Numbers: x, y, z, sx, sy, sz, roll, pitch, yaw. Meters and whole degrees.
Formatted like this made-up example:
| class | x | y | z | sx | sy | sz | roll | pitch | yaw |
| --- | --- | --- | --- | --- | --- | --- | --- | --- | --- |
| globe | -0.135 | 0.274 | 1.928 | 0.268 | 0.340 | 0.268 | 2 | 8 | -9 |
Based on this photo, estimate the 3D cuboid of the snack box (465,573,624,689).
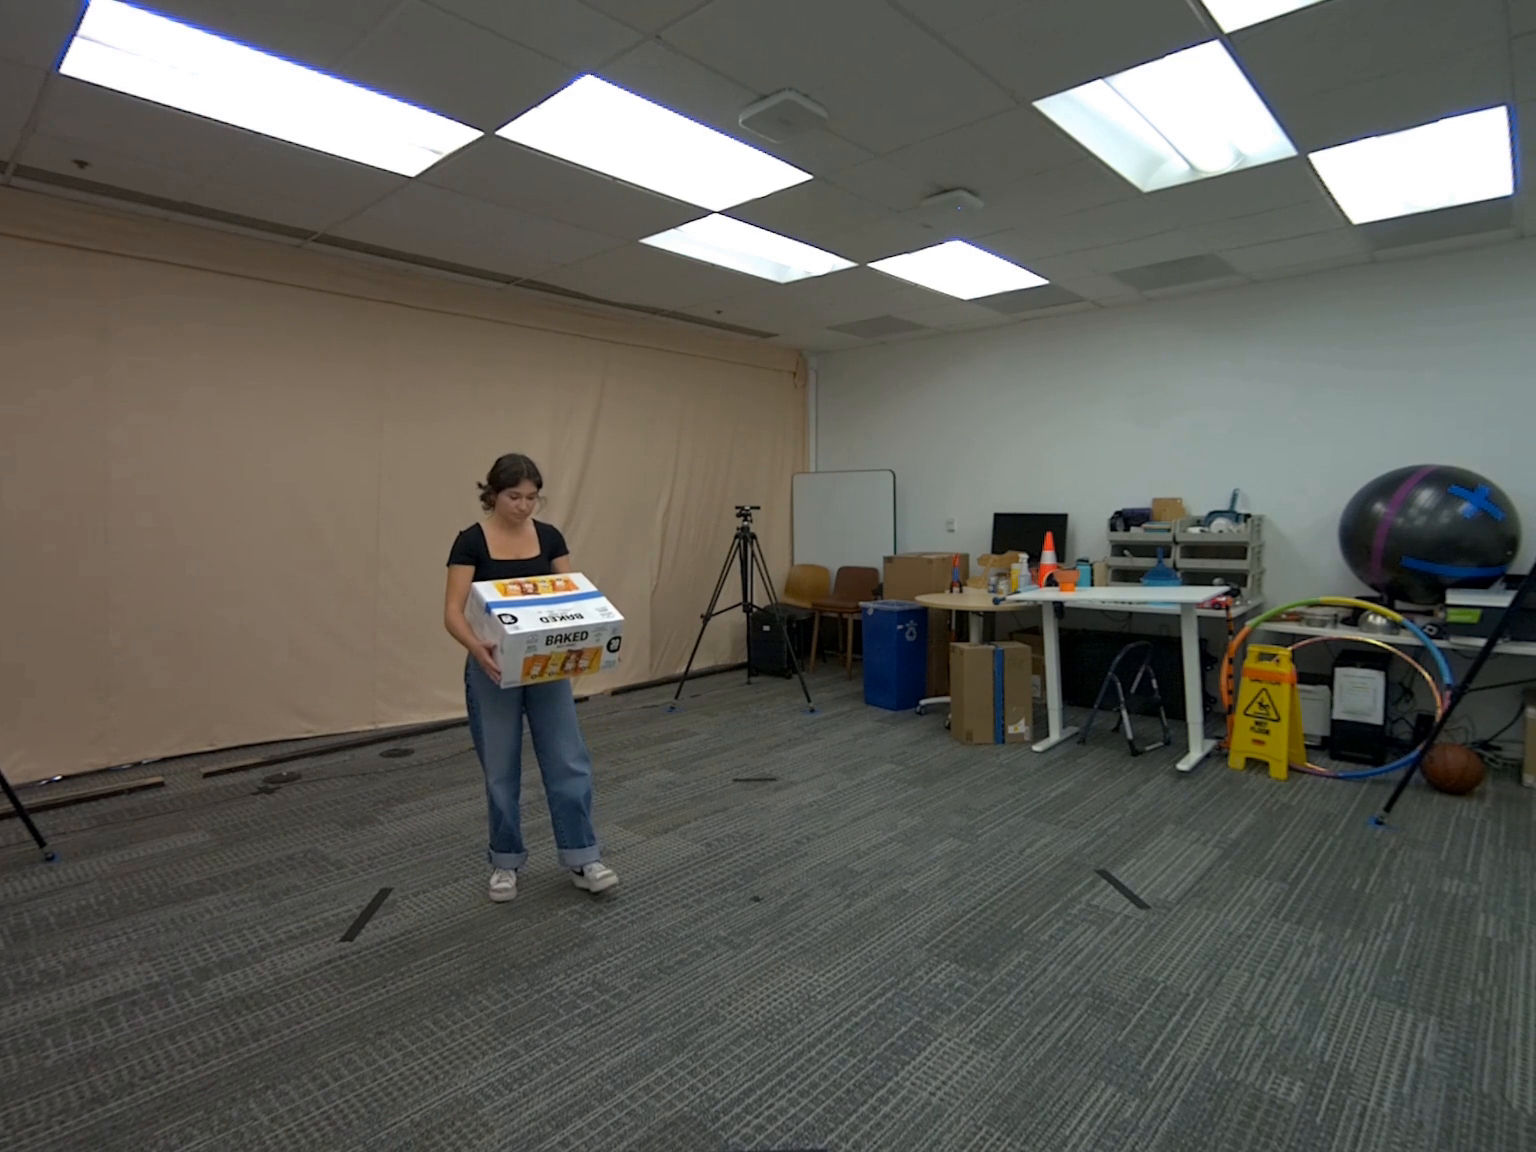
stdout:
| class | x | y | z | sx | sy | sz | roll | pitch | yaw |
| --- | --- | --- | --- | --- | --- | --- | --- | --- | --- |
| snack box | -0.744 | 0.171 | 2.798 | 0.394 | 0.204 | 0.353 | -6 | 29 | -36 |
